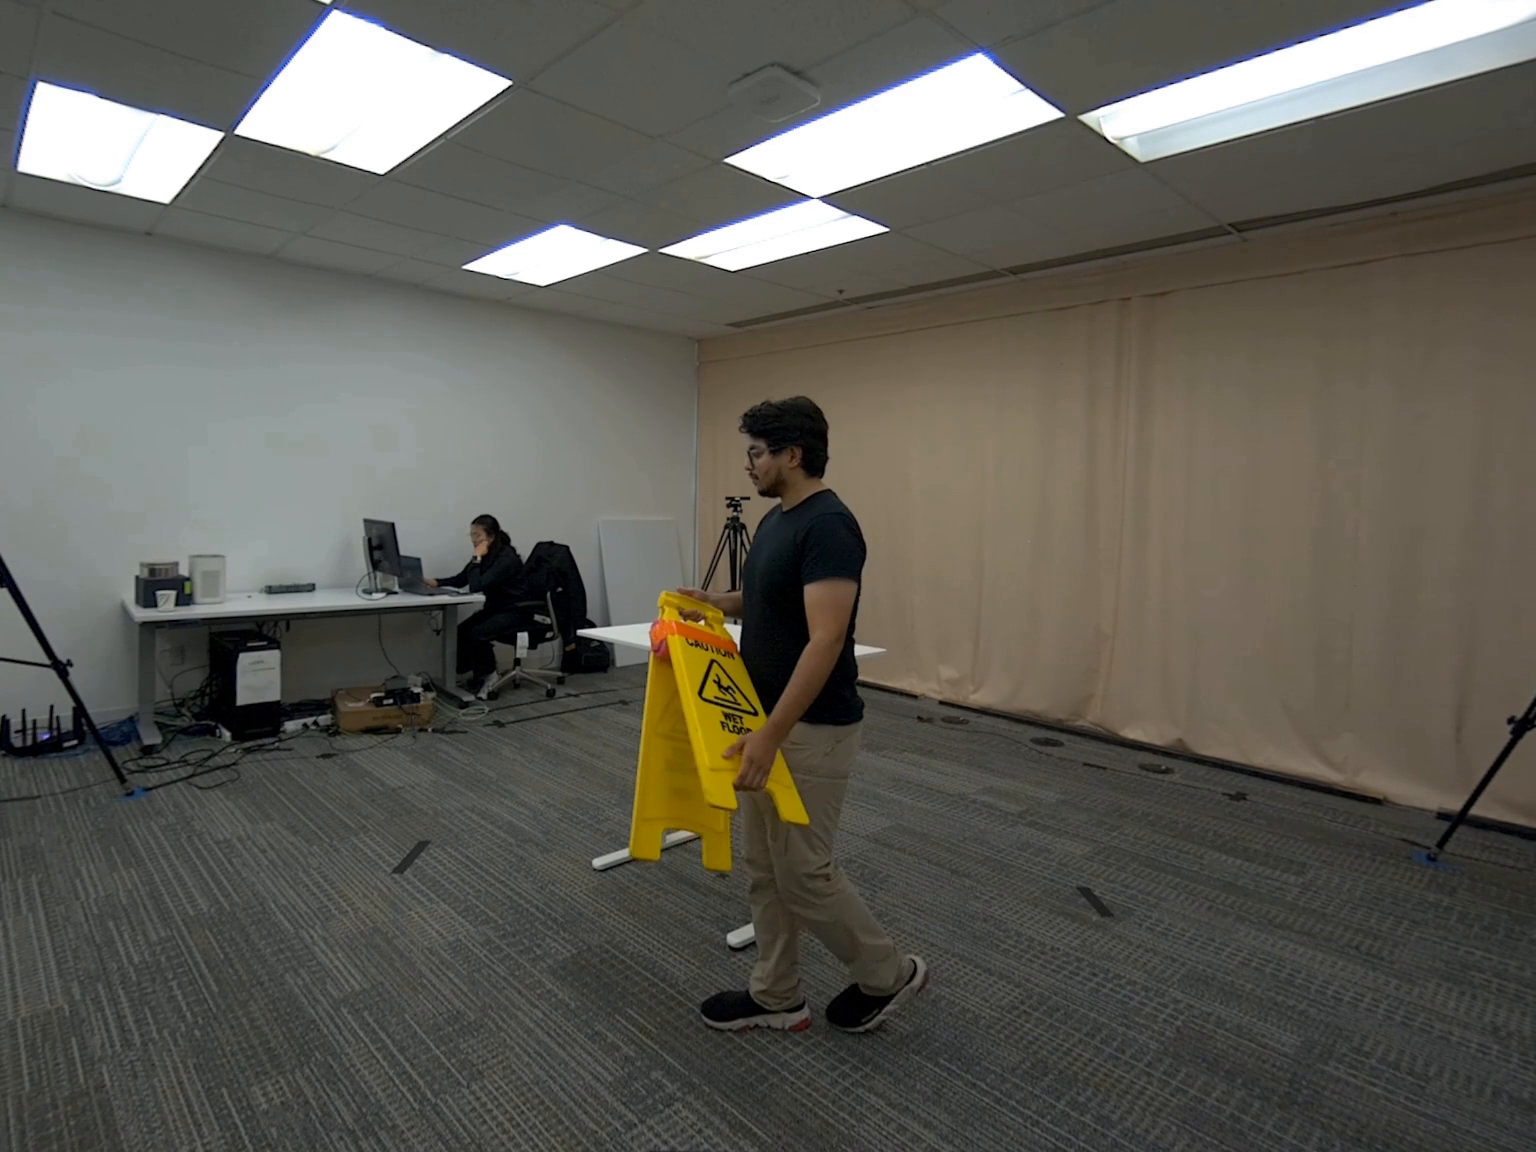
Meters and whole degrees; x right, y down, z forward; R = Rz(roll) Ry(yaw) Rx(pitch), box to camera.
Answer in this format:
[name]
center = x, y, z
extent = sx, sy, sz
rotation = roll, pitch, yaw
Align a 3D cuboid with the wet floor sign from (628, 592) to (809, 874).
[wet floor sign]
center = -0.164, 0.323, 2.024
extent = 0.275, 0.662, 0.290
rotation = 22, -49, -31
